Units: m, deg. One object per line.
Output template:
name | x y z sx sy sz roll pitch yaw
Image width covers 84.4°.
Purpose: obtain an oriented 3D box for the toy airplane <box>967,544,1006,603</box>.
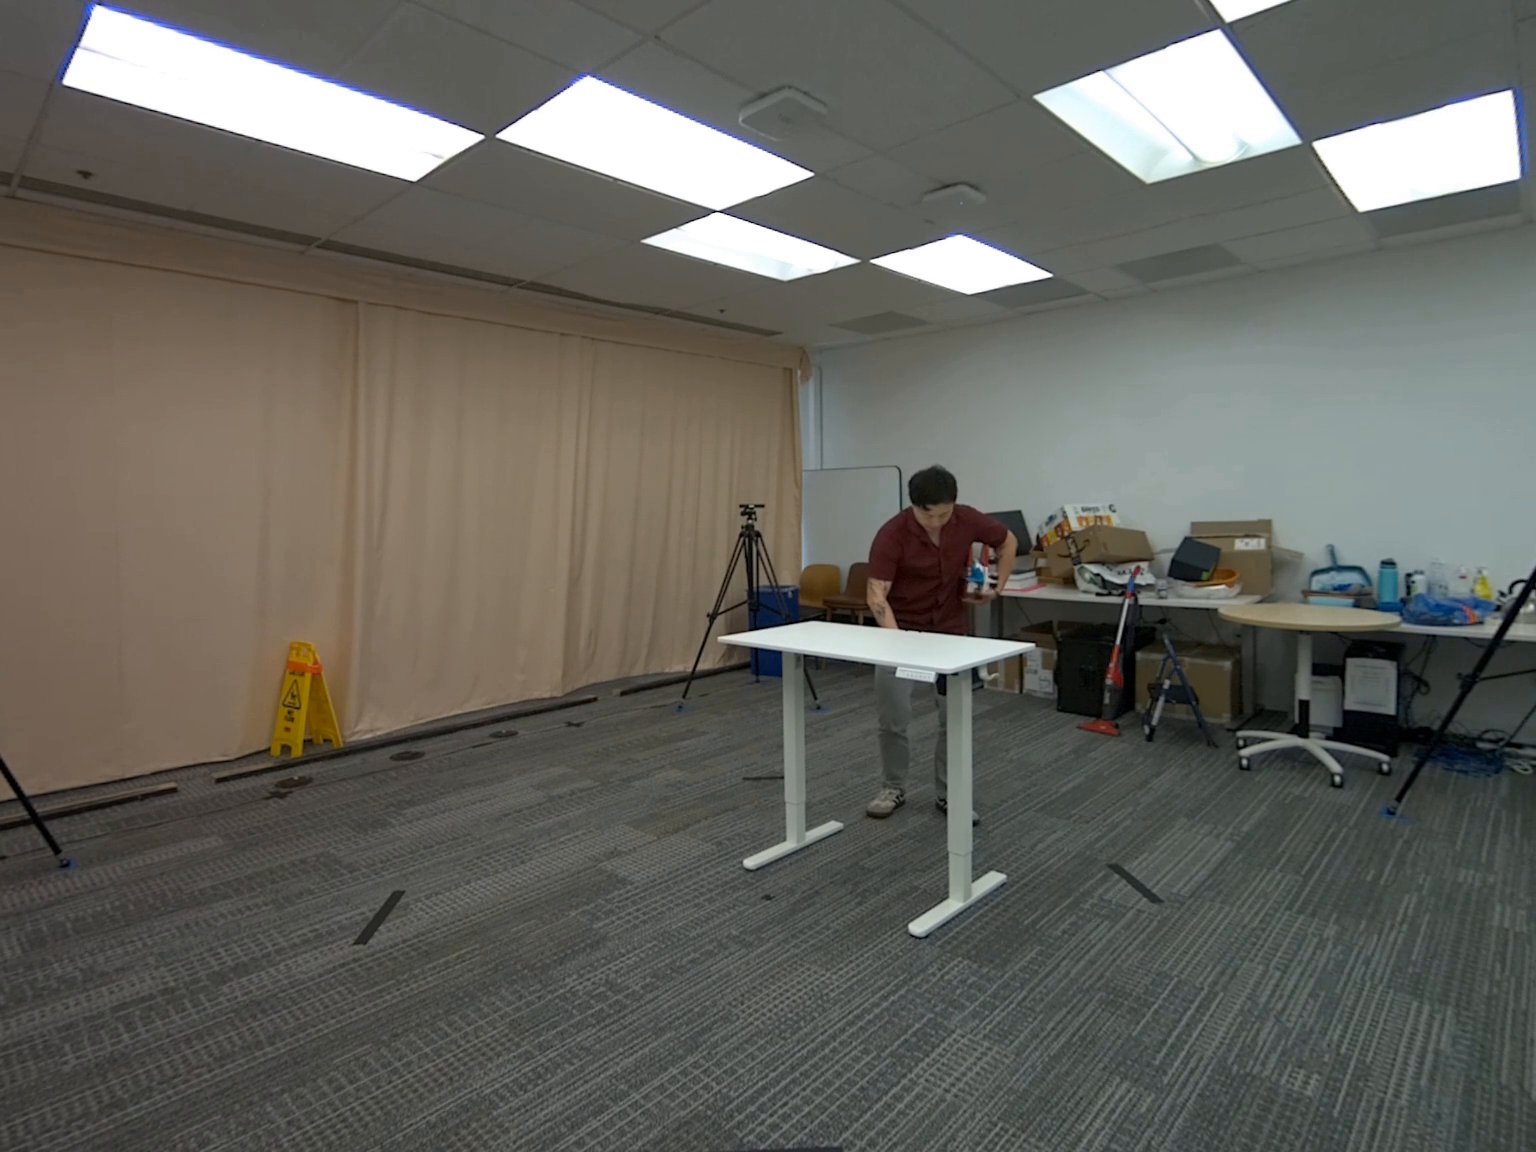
toy airplane | 0.931 -0.030 3.672 0.159 0.253 0.253 -2 -12 13
